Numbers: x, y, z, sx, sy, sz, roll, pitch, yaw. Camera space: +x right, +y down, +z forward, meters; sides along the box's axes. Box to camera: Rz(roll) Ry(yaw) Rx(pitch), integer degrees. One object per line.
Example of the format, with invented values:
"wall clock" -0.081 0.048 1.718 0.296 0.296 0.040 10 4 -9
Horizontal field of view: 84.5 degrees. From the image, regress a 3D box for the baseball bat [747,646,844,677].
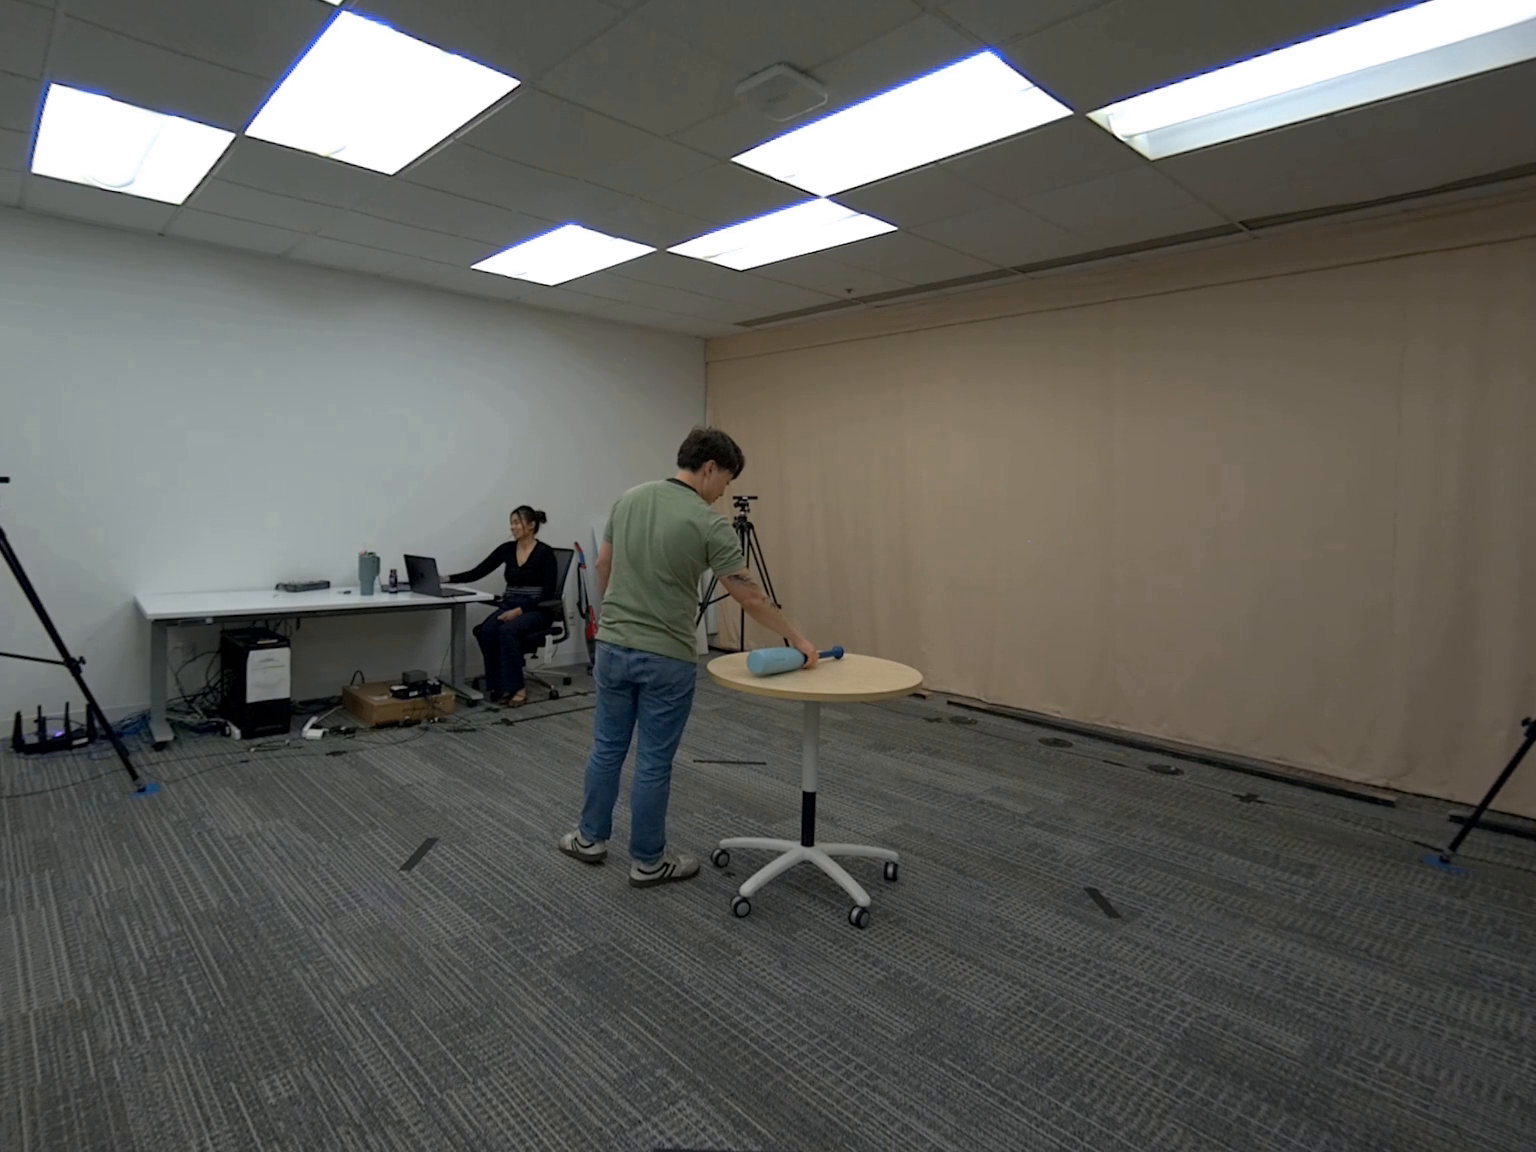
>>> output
"baseball bat" 0.102 0.296 3.035 0.091 0.089 0.530 5 2 36
